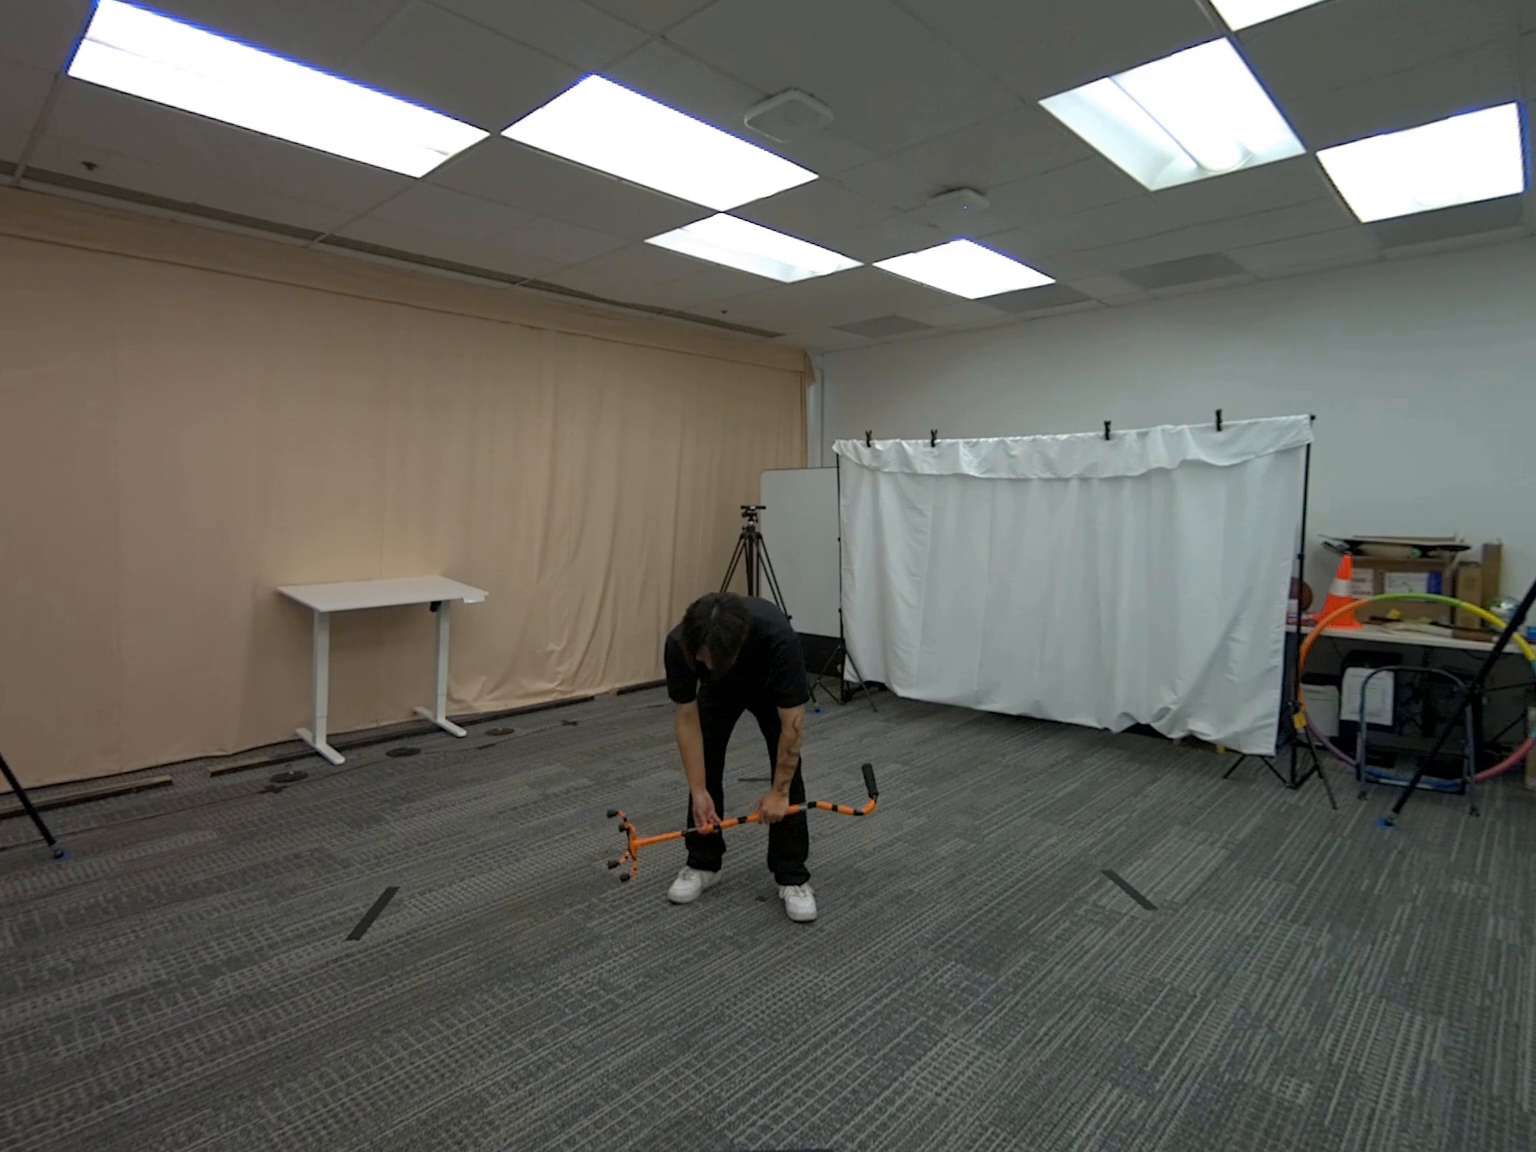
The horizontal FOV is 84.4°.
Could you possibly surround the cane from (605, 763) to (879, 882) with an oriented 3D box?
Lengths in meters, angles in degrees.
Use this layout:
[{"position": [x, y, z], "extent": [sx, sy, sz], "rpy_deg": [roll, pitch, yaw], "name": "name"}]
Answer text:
[{"position": [-0.079, 0.817, 2.806], "extent": [0.914, 0.211, 0.147], "rpy_deg": [-13, -41, 7], "name": "cane"}]
